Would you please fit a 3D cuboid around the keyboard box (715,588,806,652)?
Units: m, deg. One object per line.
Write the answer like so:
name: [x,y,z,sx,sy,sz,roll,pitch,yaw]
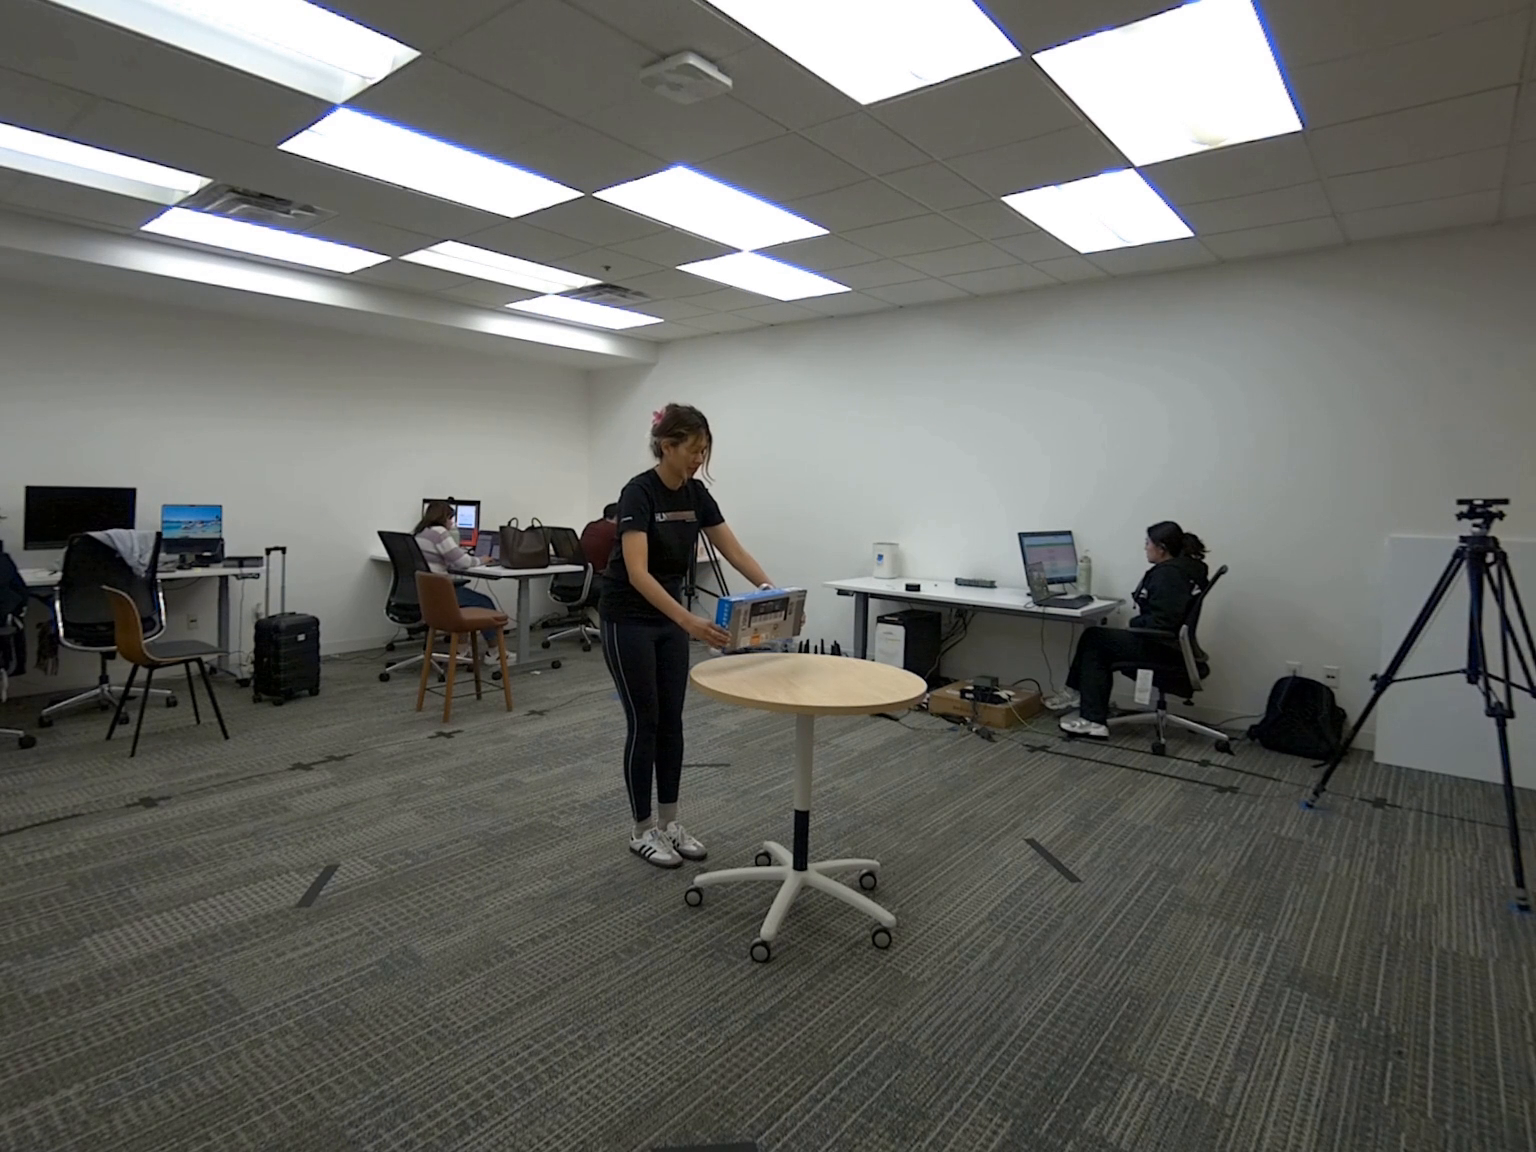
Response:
keyboard box: [-0.033,0.141,2.916,0.061,0.175,0.424,13,12,36]
